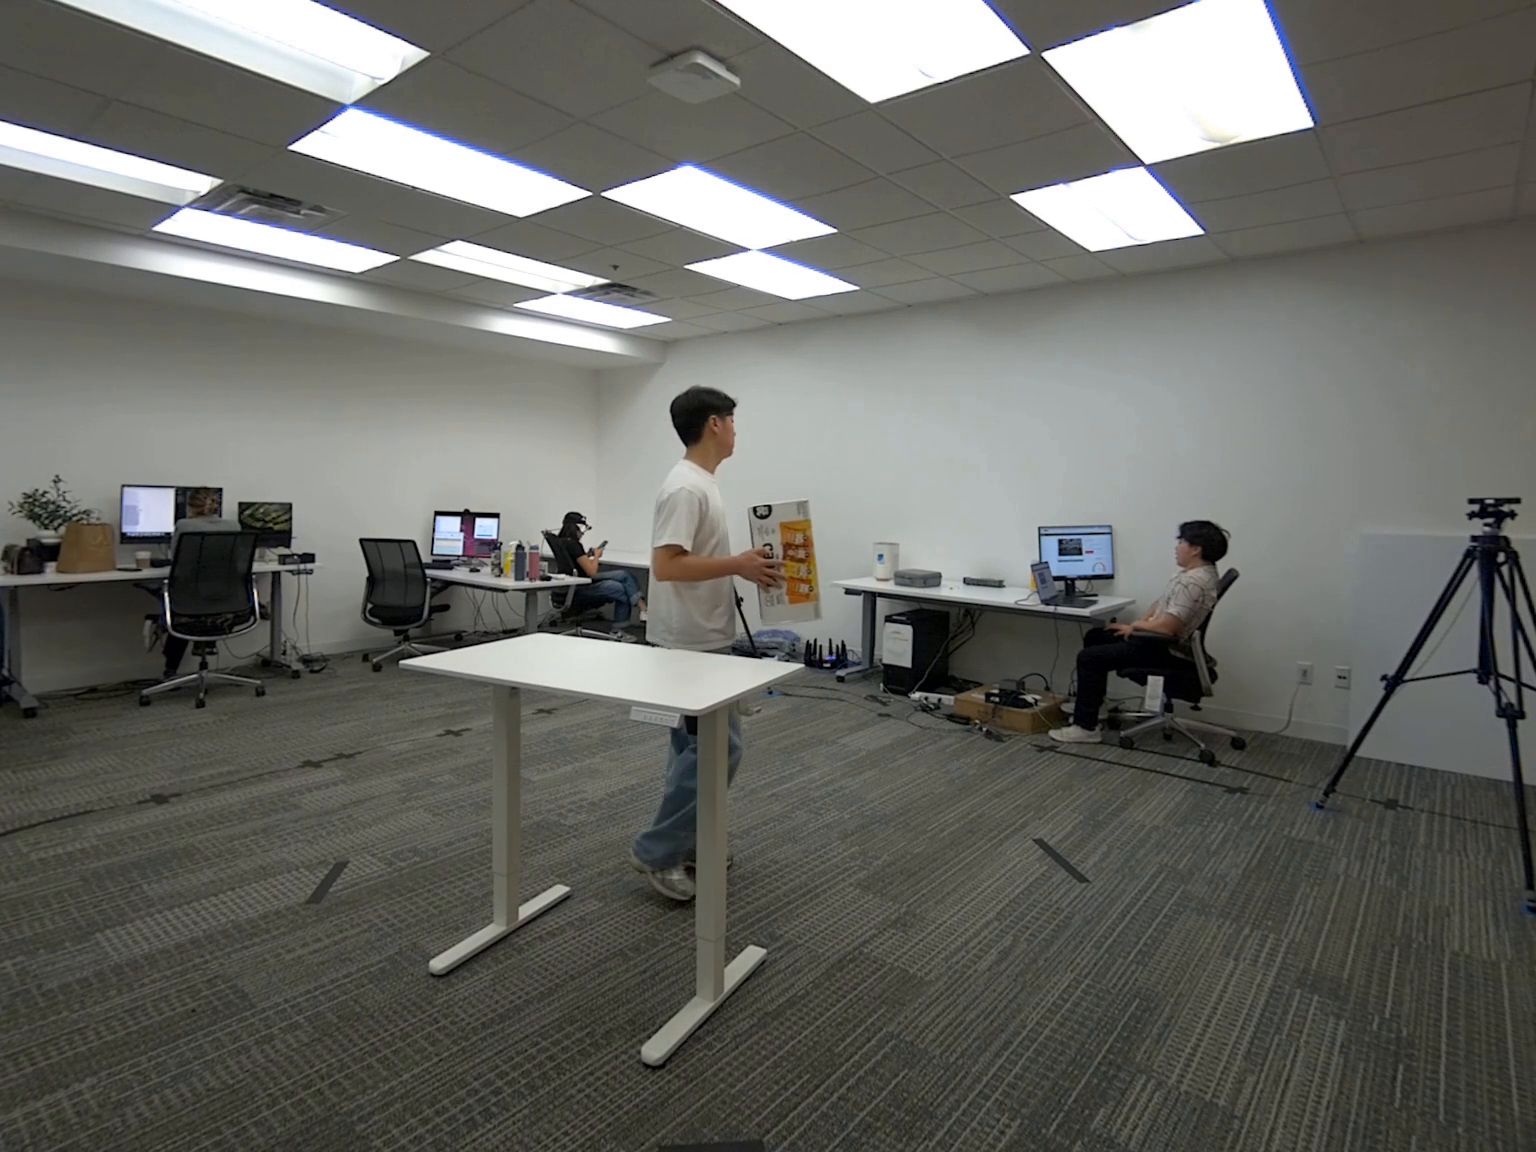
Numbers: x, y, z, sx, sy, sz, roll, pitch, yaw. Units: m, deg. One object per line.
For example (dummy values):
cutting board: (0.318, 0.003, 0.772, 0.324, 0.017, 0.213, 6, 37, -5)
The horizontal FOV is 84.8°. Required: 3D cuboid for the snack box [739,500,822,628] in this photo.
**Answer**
snack box: (0.042, -0.055, 3.003, 0.206, 0.405, 0.340, -6, 2, 0)
